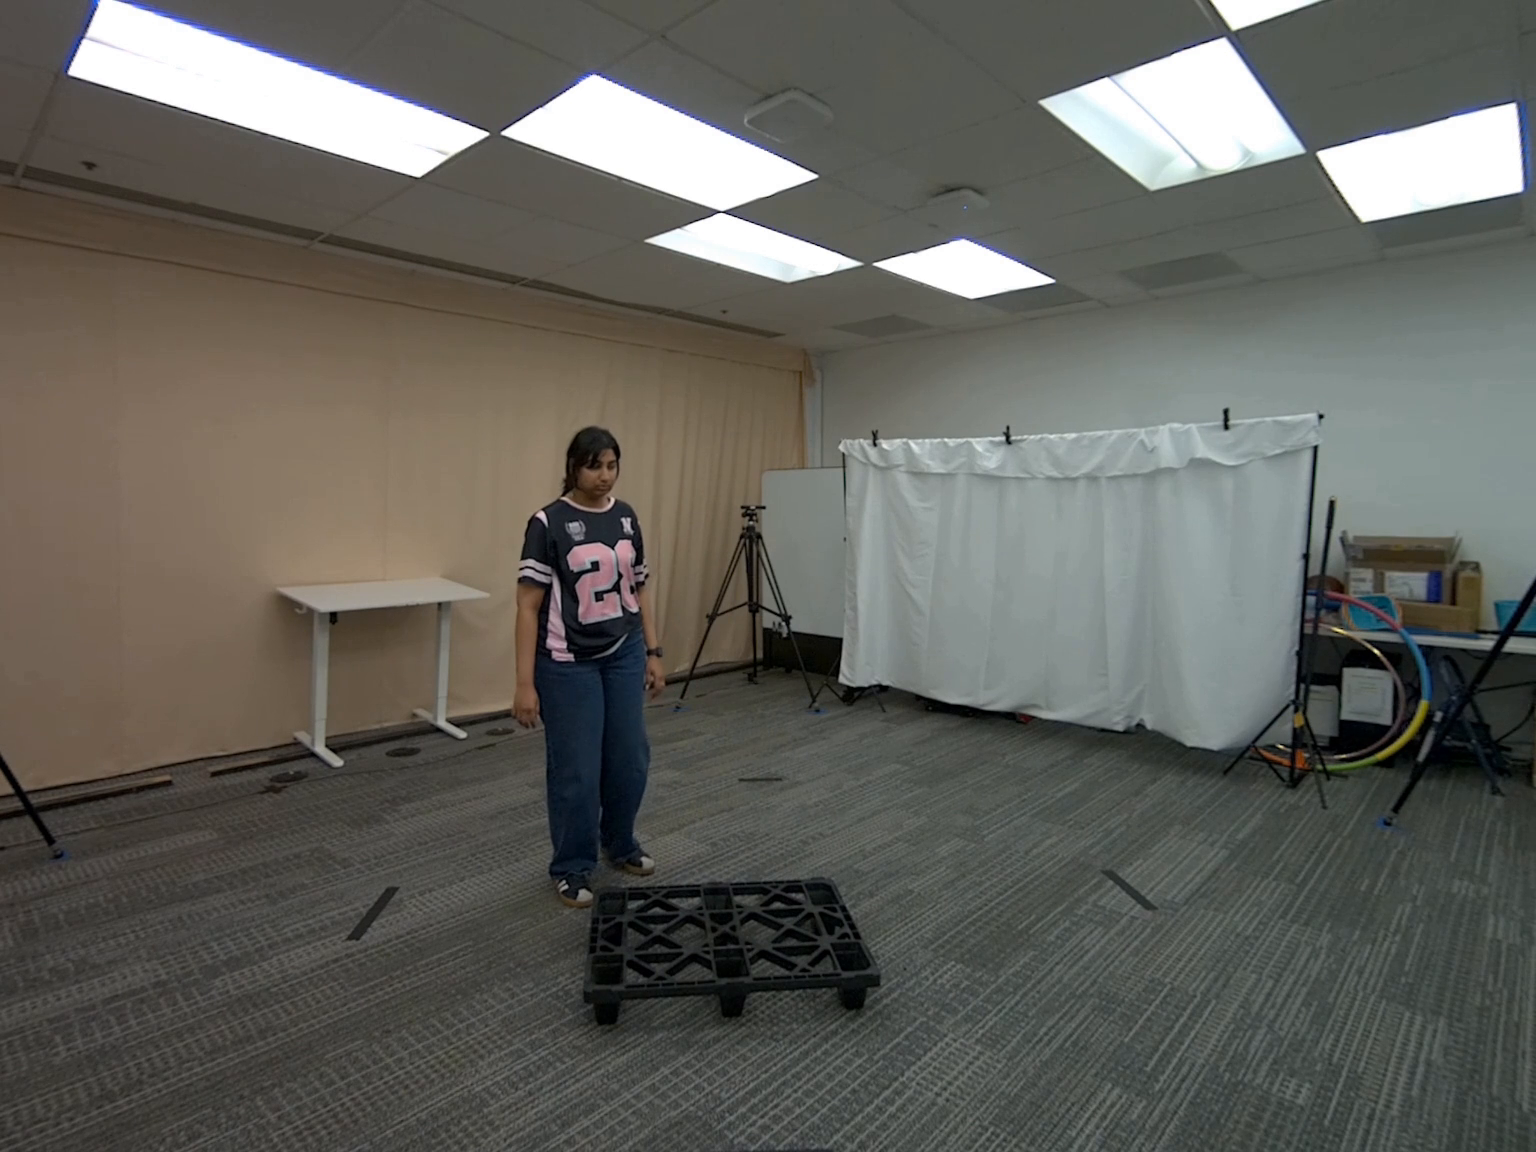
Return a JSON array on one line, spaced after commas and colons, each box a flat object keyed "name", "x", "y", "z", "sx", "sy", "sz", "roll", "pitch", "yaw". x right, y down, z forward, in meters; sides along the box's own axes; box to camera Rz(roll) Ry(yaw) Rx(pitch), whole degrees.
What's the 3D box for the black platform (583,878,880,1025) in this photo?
[{"name": "black platform", "x": -0.132, "y": 1.117, "z": 2.519, "sx": 0.800, "sy": 0.143, "sz": 0.610, "roll": -1, "pitch": 4, "yaw": -7}]
